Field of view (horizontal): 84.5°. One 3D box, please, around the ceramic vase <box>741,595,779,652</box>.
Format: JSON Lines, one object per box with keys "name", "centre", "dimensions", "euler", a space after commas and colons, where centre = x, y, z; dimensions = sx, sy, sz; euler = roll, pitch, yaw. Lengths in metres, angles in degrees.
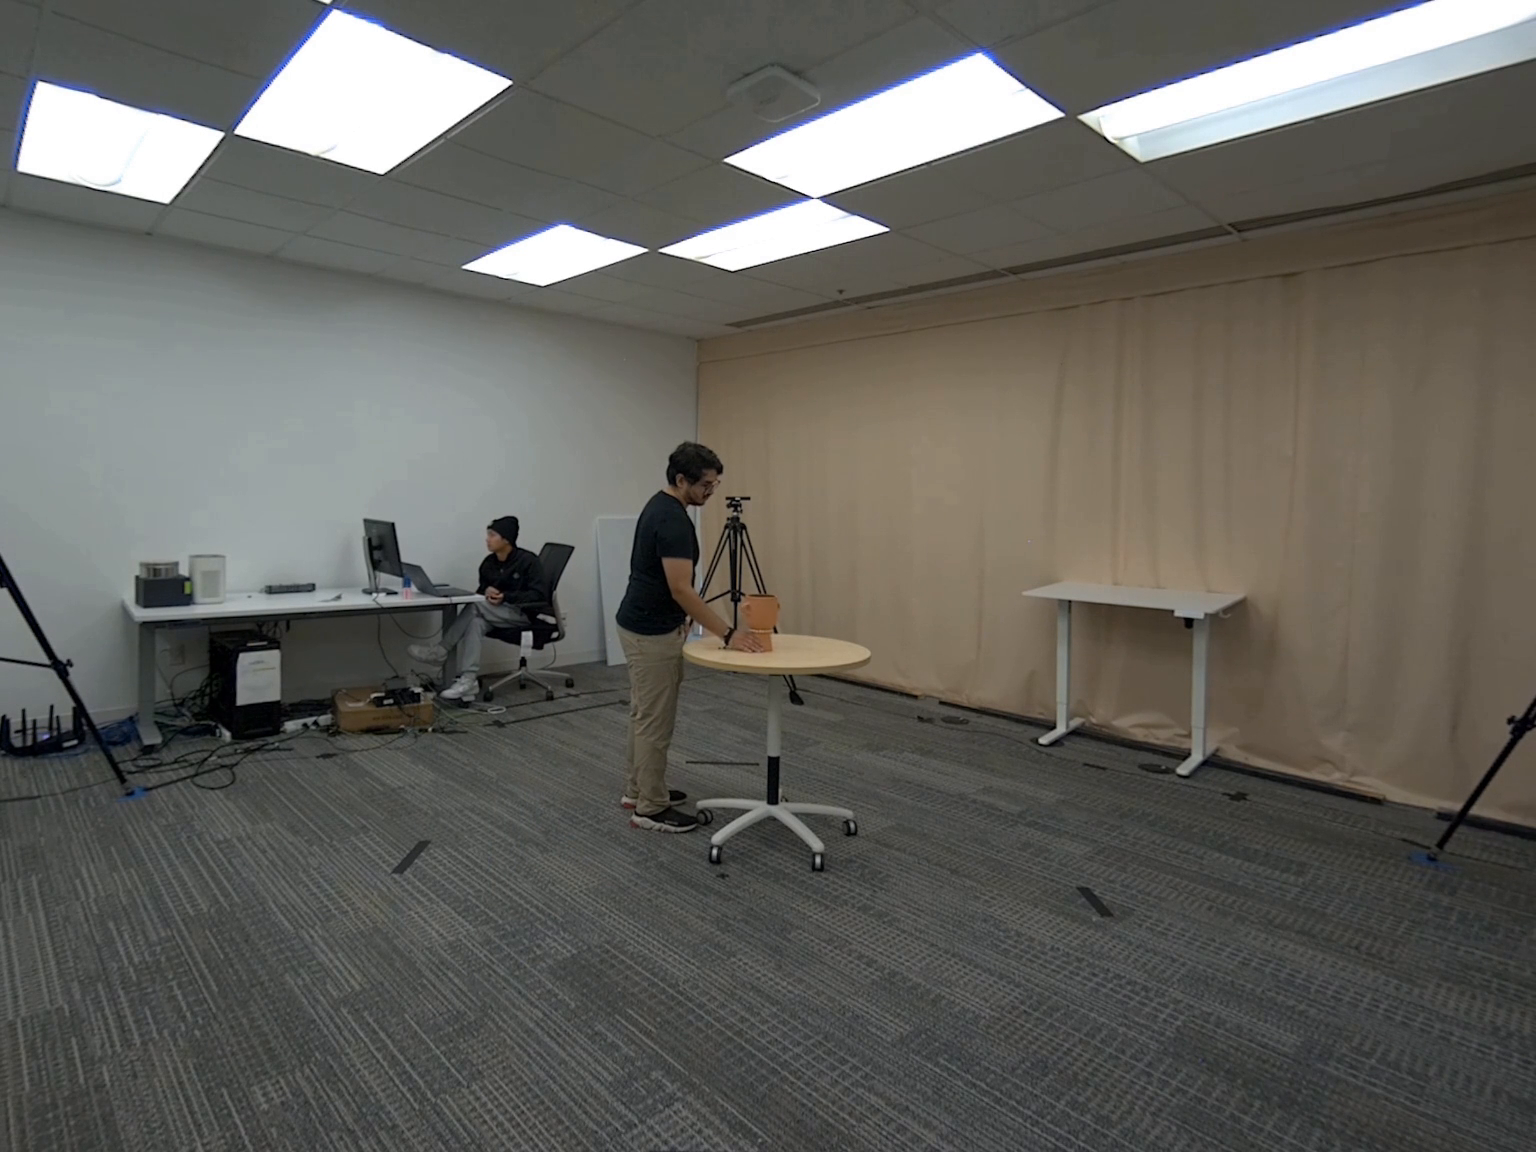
{"name": "ceramic vase", "centre": [-0.040, 0.192, 3.415], "dimensions": [0.158, 0.219, 0.135], "euler": [2, 1, -2]}
